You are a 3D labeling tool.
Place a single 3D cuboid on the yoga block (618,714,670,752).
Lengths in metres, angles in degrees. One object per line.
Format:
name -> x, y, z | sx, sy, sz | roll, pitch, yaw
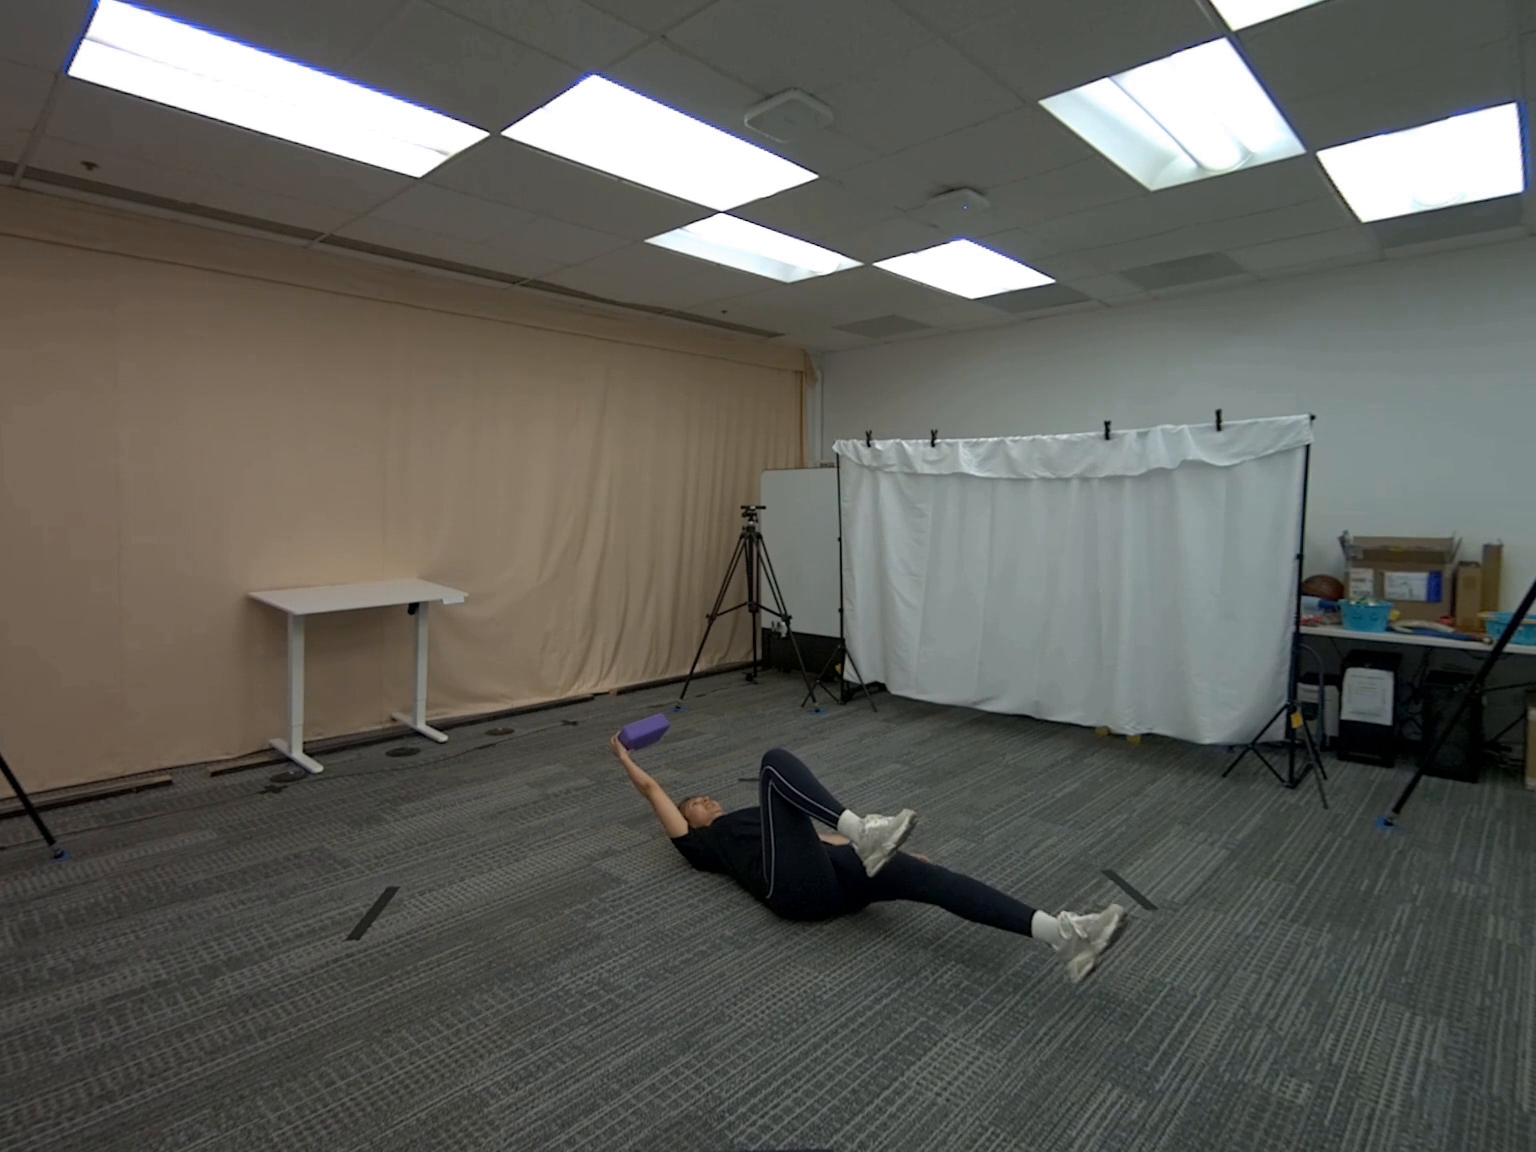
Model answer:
yoga block -> -0.564, 0.702, 3.761 | 0.223, 0.078, 0.149 | -15, -30, -44
